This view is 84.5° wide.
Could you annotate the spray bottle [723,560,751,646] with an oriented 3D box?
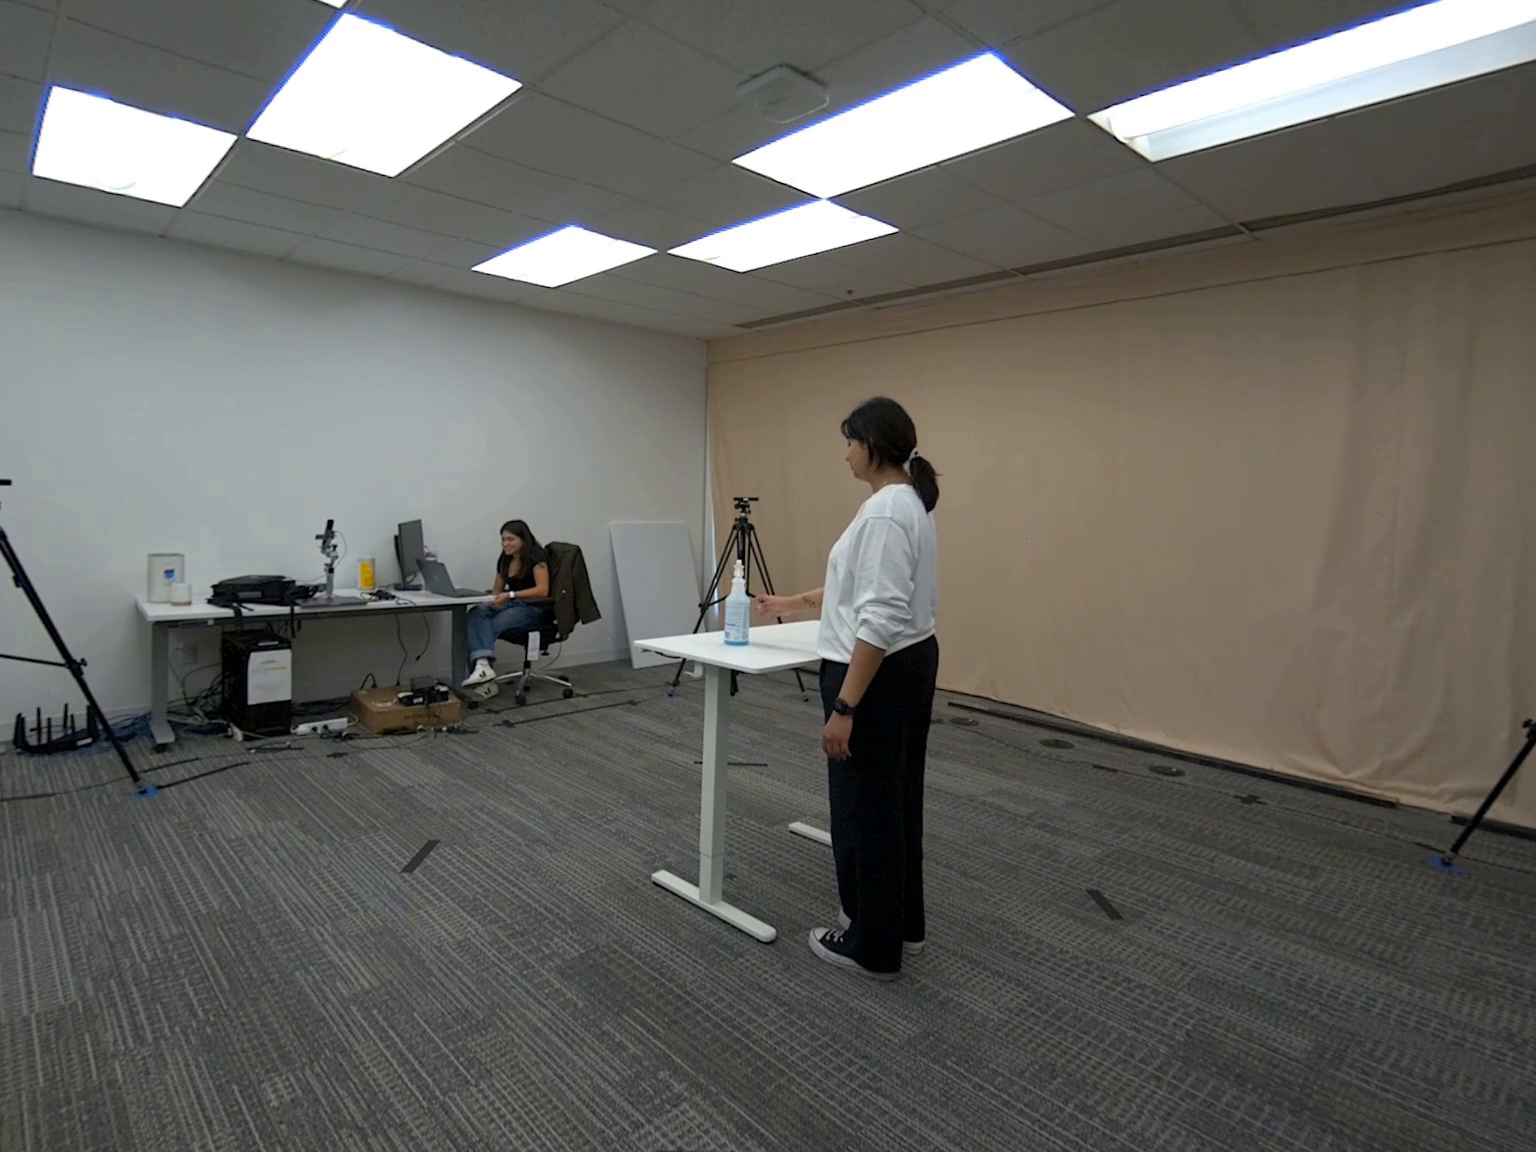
[{"bbox_3d":[-0.113,0.095,2.933,0.089,0.297,0.088,2,3,27],"label":"spray bottle"}]
